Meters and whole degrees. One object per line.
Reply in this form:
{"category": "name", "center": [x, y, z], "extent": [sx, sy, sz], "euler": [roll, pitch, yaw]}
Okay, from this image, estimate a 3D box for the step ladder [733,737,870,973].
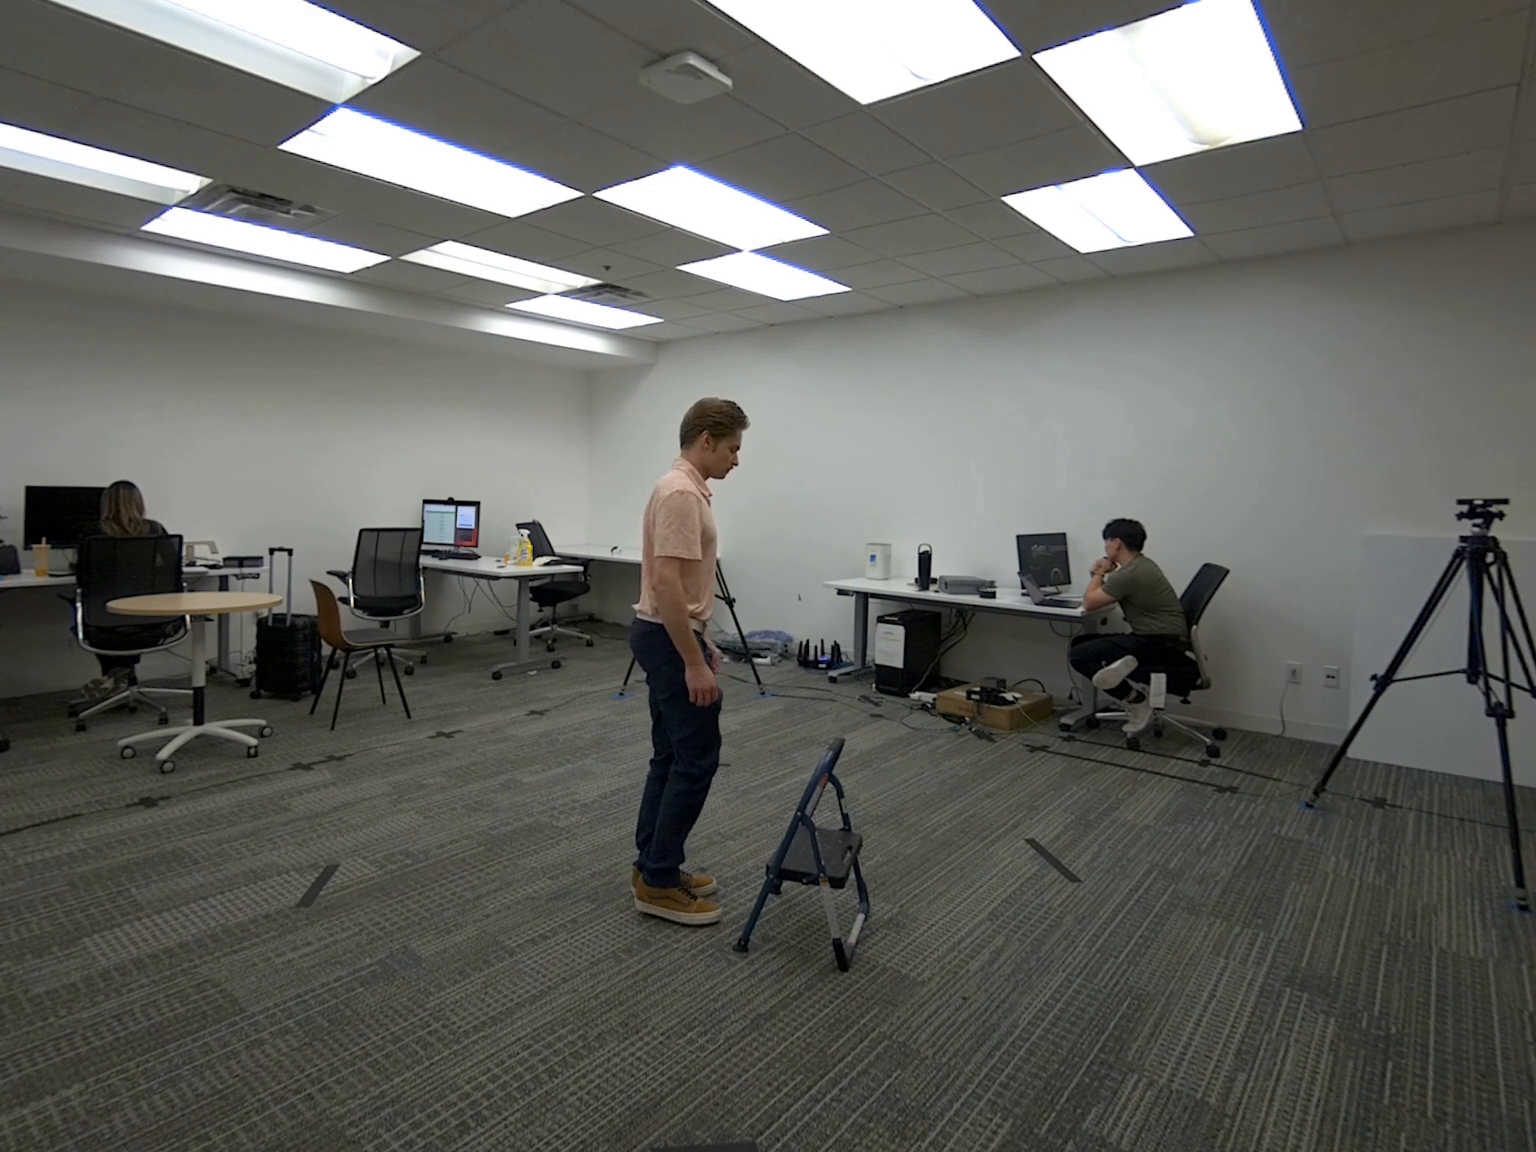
{"category": "step ladder", "center": [0.123, 0.816, 2.685], "extent": [0.356, 0.604, 0.424], "euler": [3, 4, 17]}
